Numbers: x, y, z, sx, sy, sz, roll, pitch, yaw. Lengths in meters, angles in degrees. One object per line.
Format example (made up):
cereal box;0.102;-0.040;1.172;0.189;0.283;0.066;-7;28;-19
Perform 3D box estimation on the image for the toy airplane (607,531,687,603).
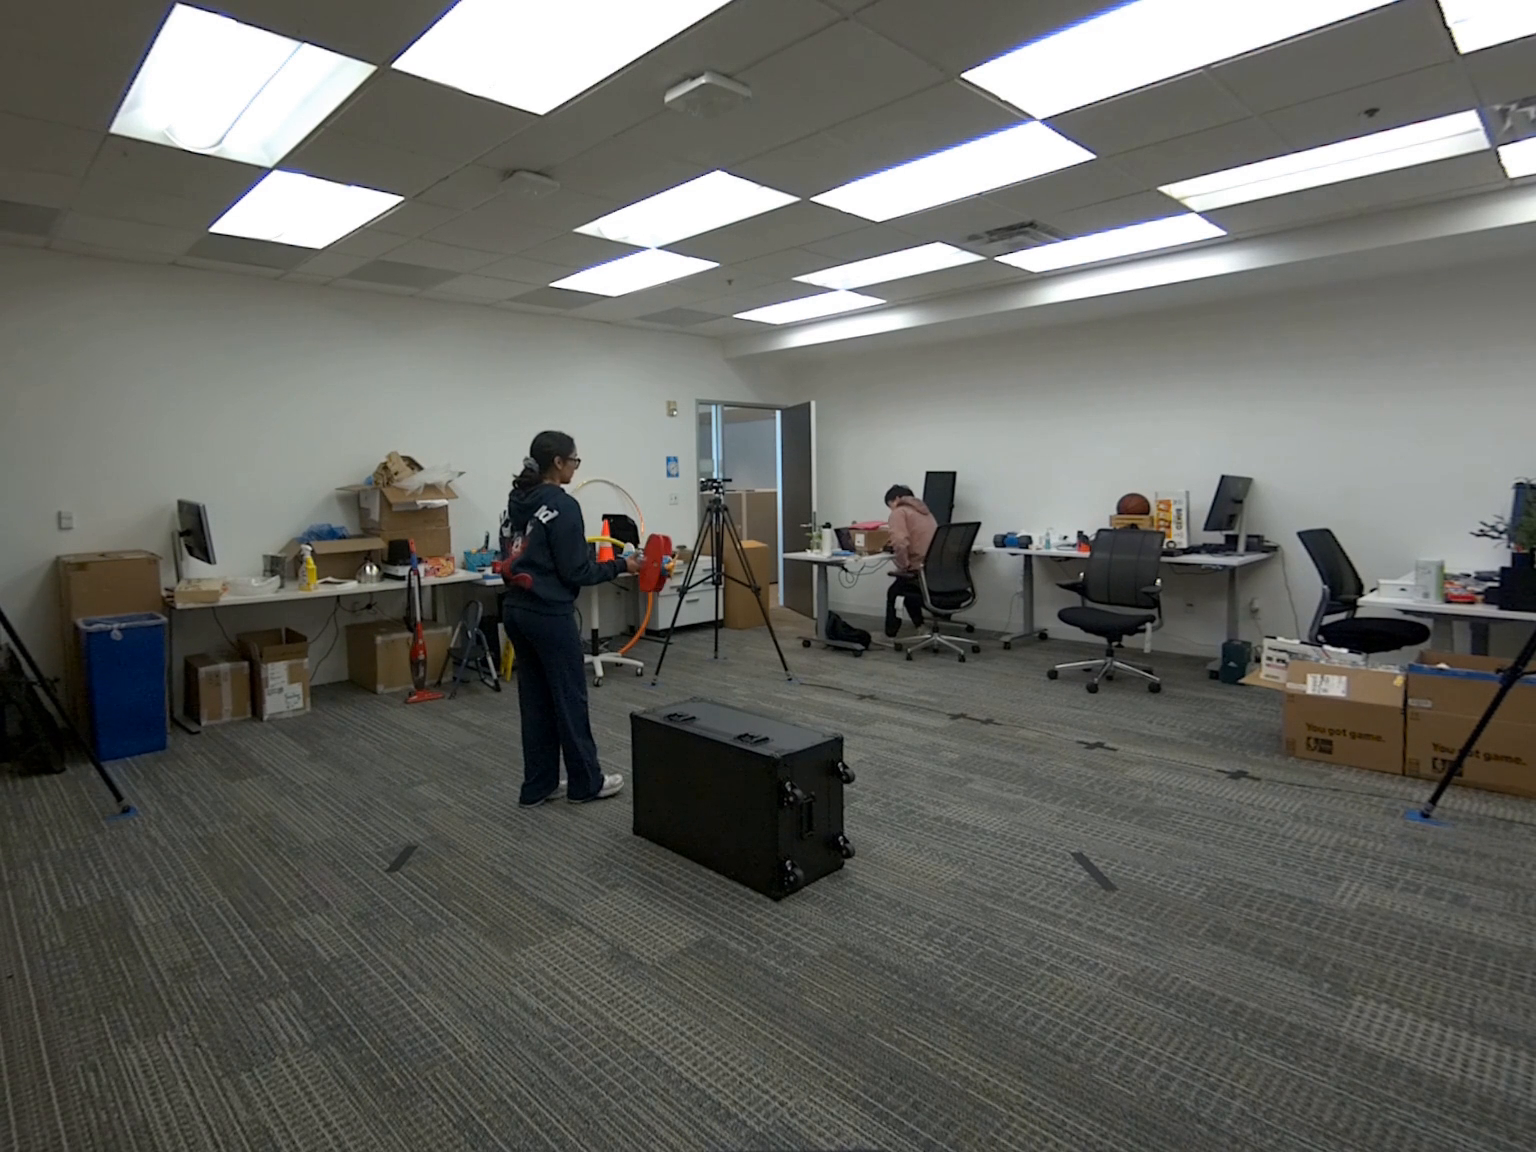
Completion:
toy airplane;-0.528;-0.040;3.745;0.262;0.252;0.154;-14;-4;13
